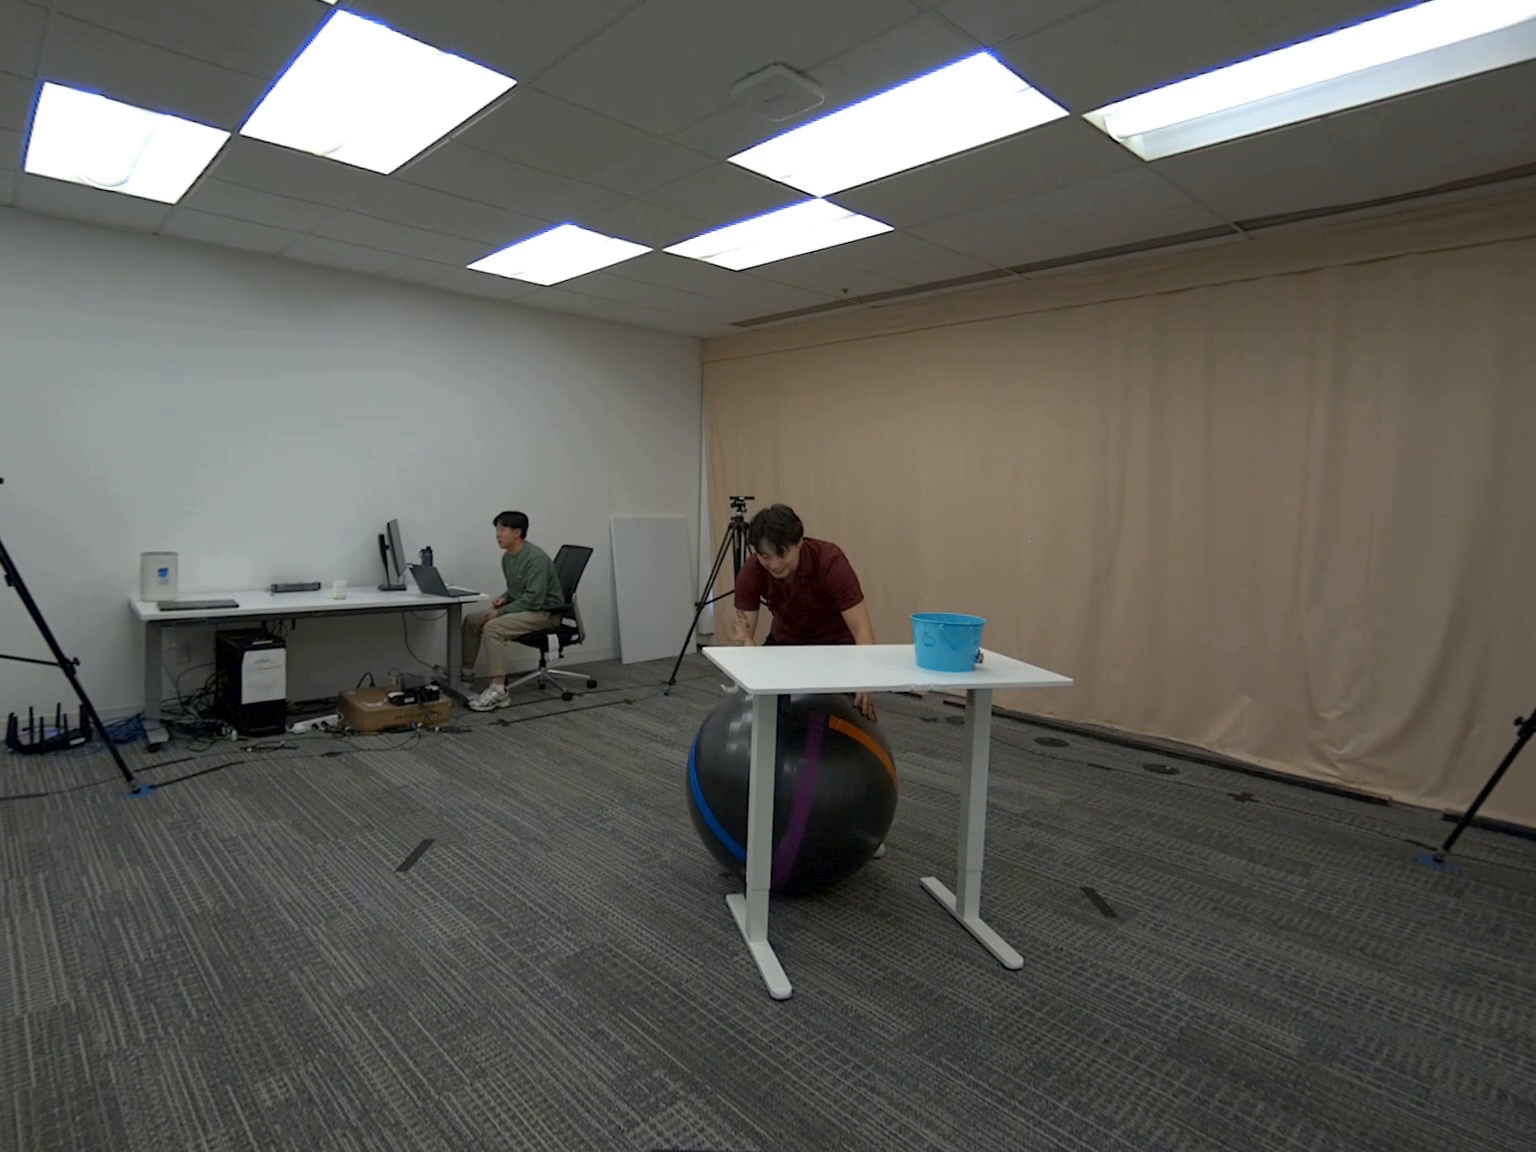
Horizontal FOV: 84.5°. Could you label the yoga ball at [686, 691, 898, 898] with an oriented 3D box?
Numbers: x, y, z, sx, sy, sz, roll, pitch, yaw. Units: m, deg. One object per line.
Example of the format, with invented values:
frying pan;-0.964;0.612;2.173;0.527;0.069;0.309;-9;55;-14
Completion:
yoga ball;0.074;0.748;3.046;0.757;0.756;0.760;1;4;-1
